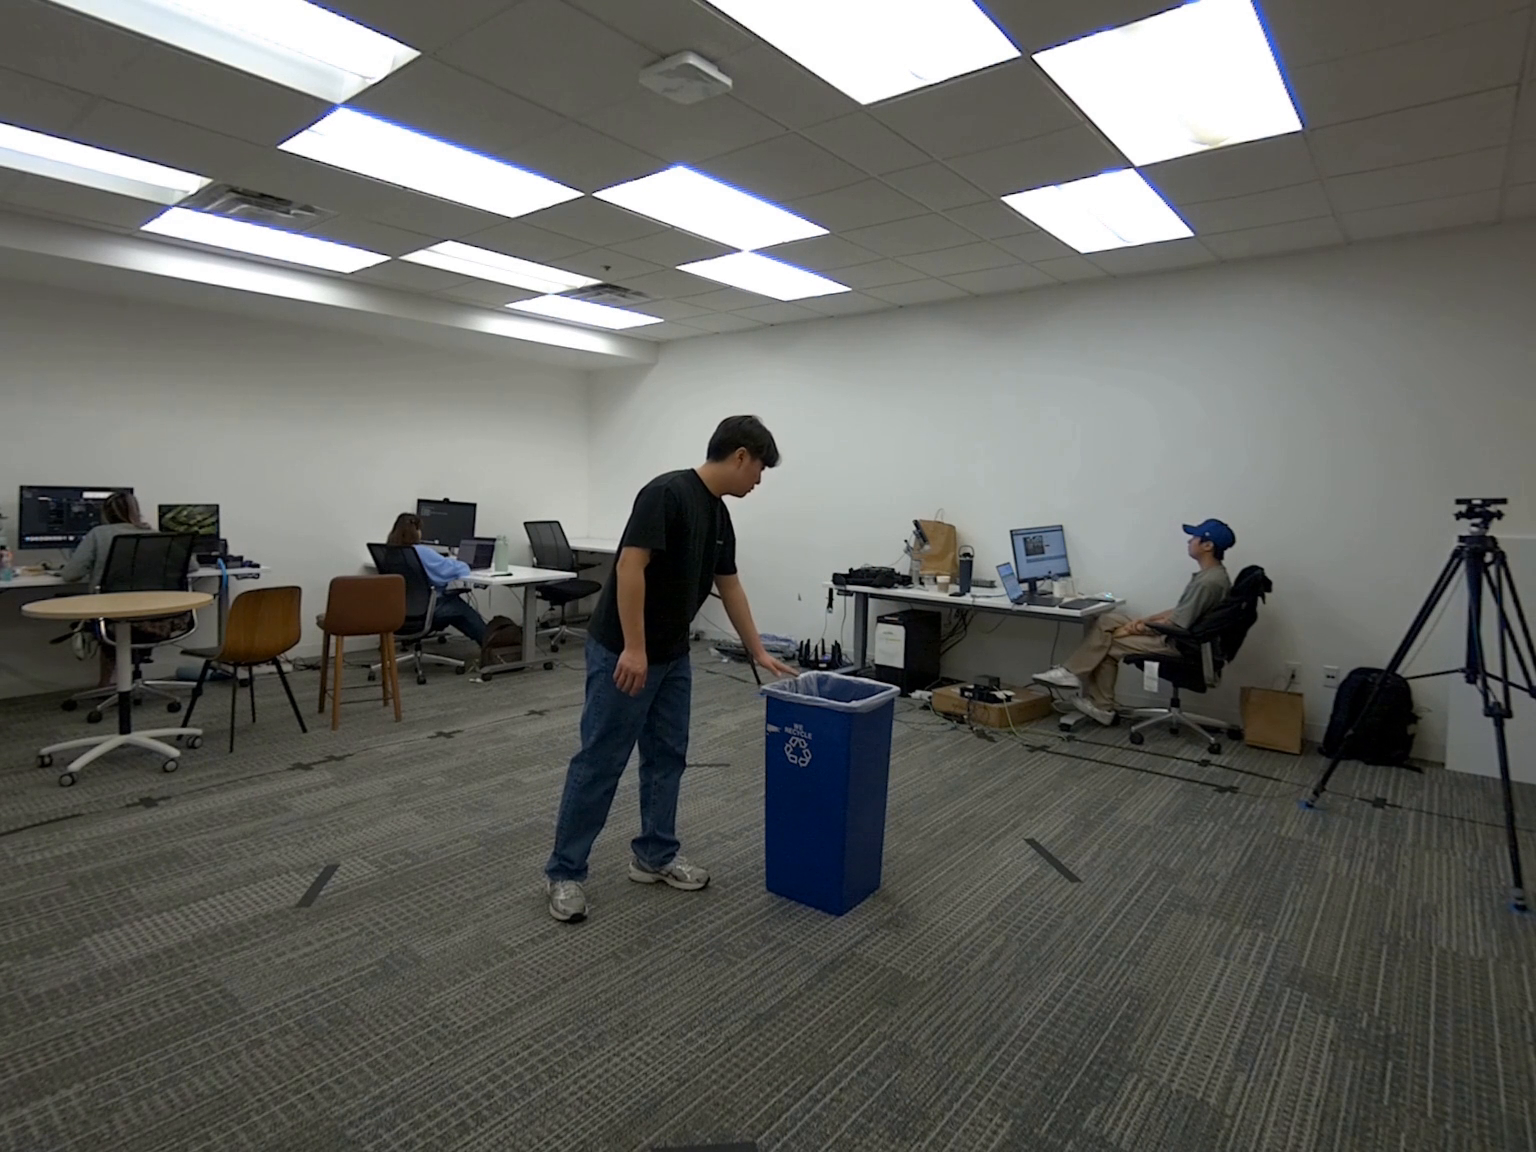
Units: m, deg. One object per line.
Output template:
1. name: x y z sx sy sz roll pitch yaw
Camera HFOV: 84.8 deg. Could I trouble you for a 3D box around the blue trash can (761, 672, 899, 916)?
1. blue trash can: 0.208 0.738 2.963 0.386 0.711 0.367 3 4 34
